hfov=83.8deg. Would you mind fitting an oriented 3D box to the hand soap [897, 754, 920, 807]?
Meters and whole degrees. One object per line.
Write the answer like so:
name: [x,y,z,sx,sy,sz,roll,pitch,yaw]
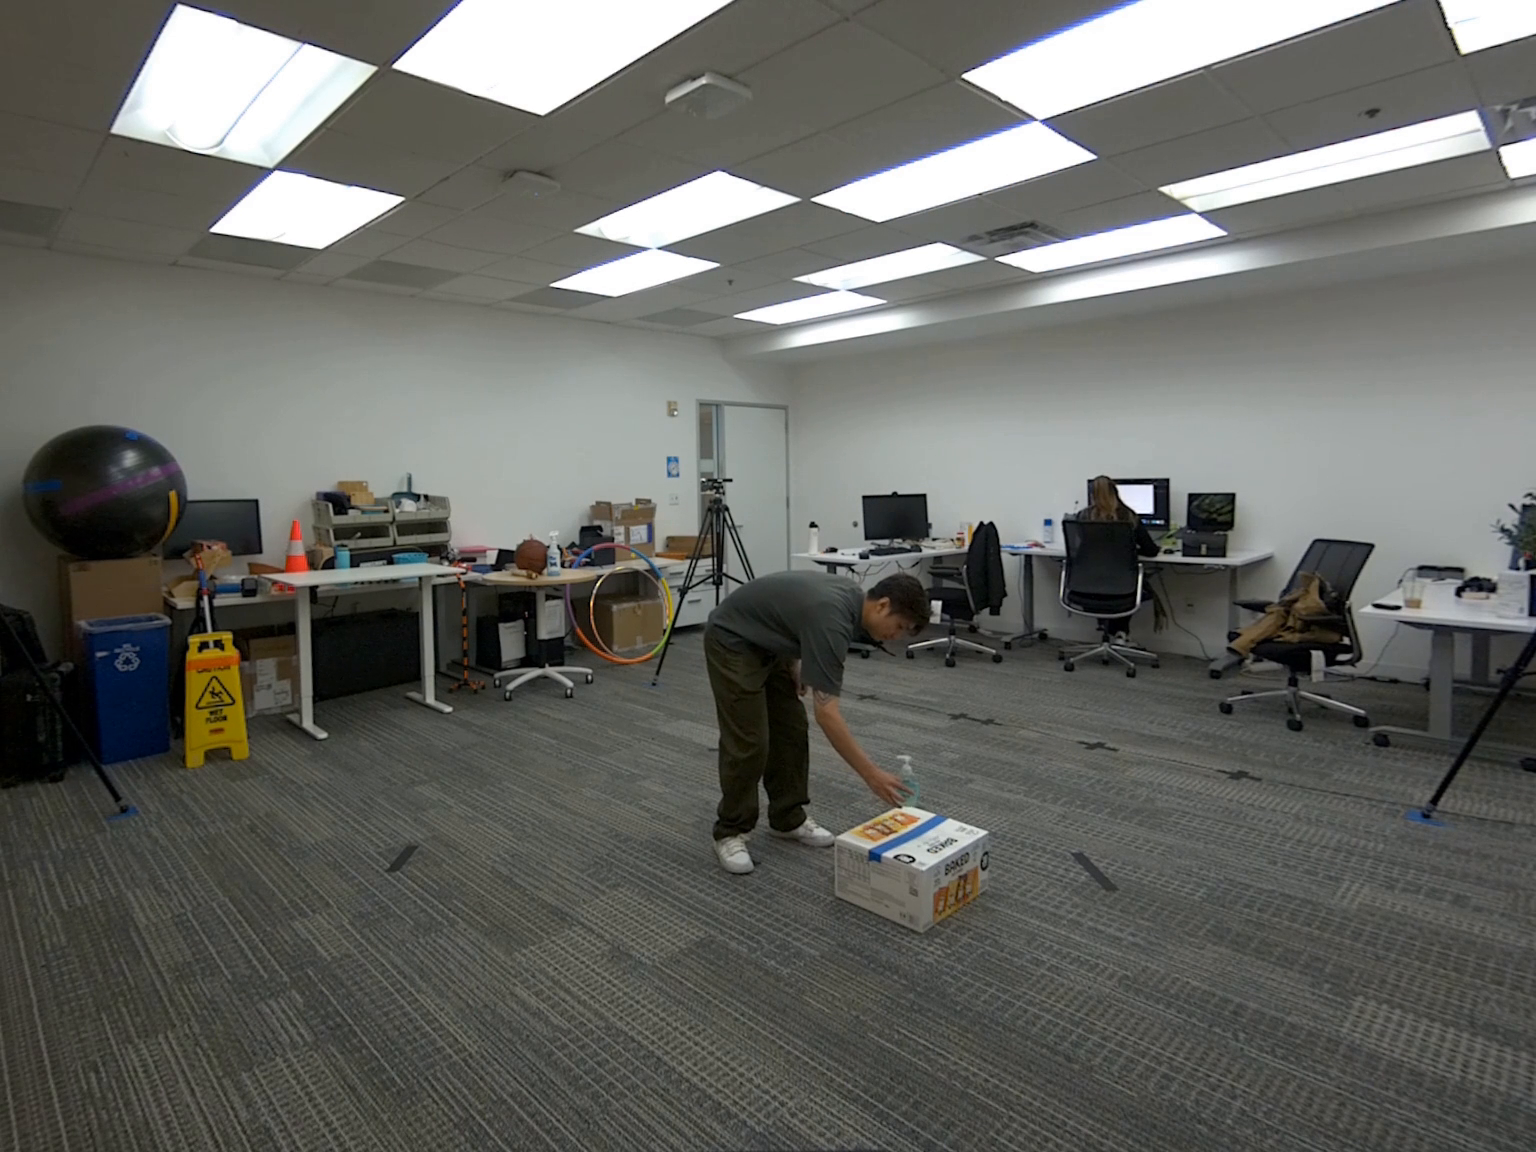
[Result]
hand soap: [0.451,0.671,2.813,0.085,0.167,0.043,3,7,4]
